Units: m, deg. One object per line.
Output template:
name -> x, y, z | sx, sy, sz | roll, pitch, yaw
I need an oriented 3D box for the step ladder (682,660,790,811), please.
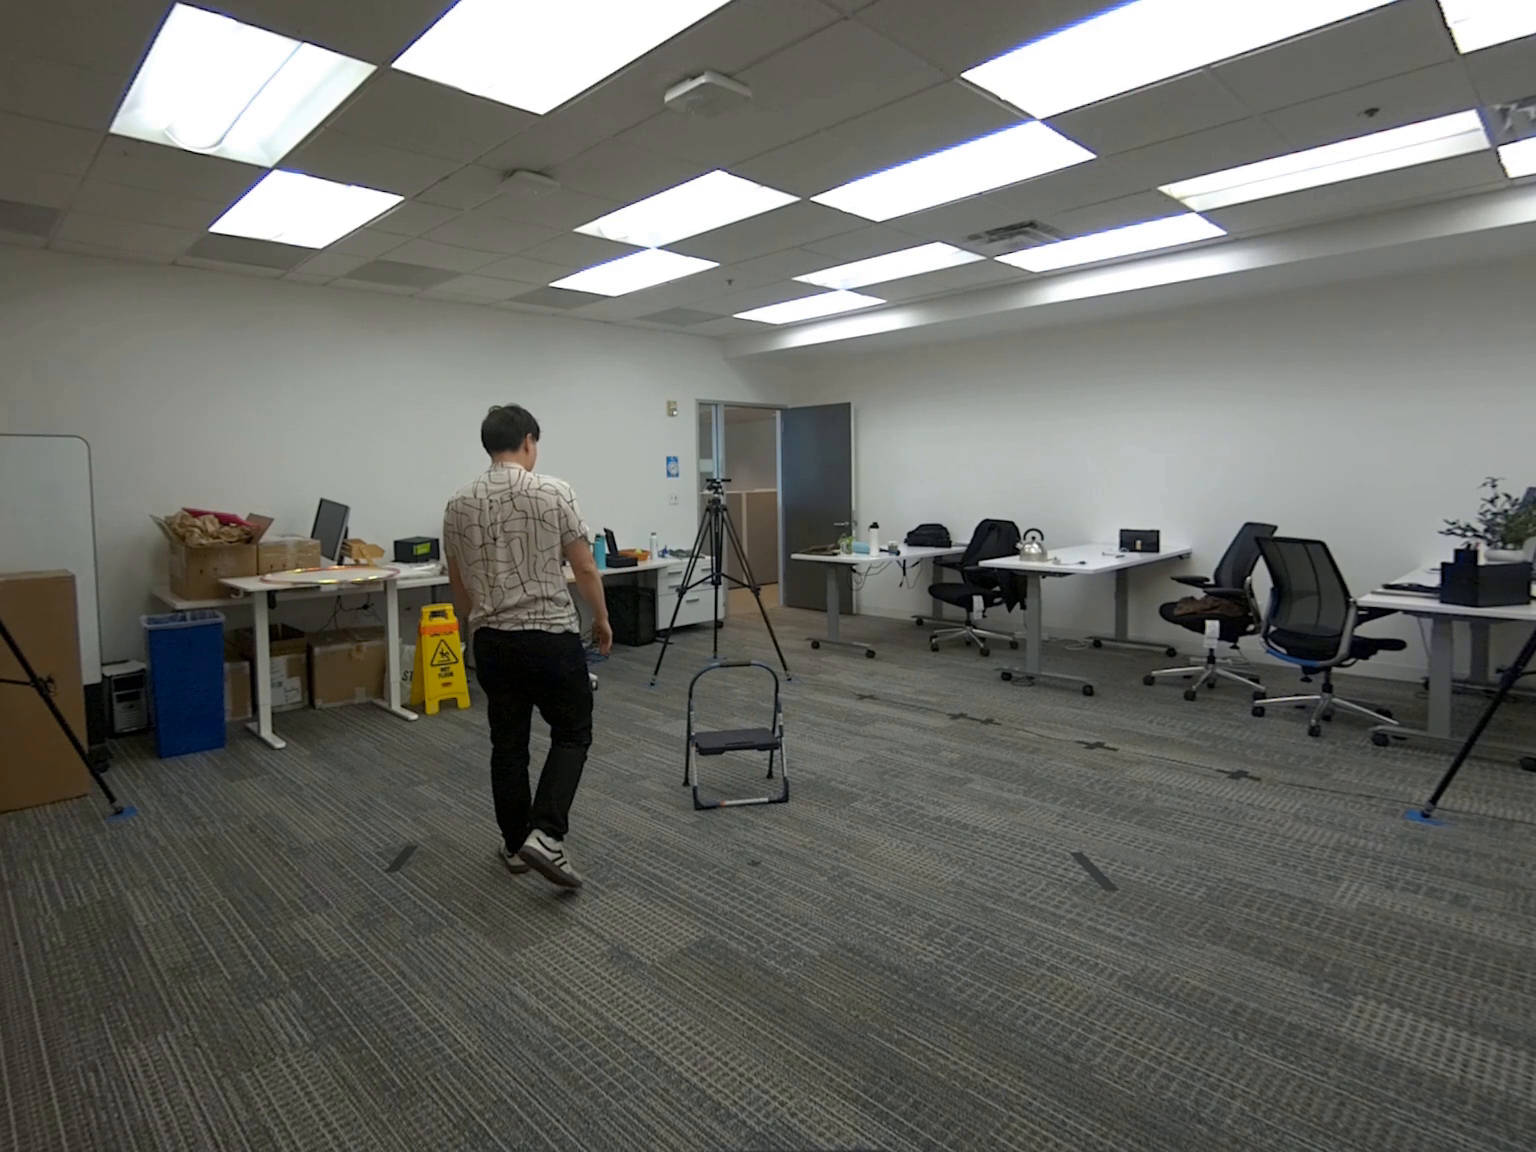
step ladder -> -0.157, 0.667, 3.796 | 0.426, 0.604, 0.354 | -2, 4, -12
